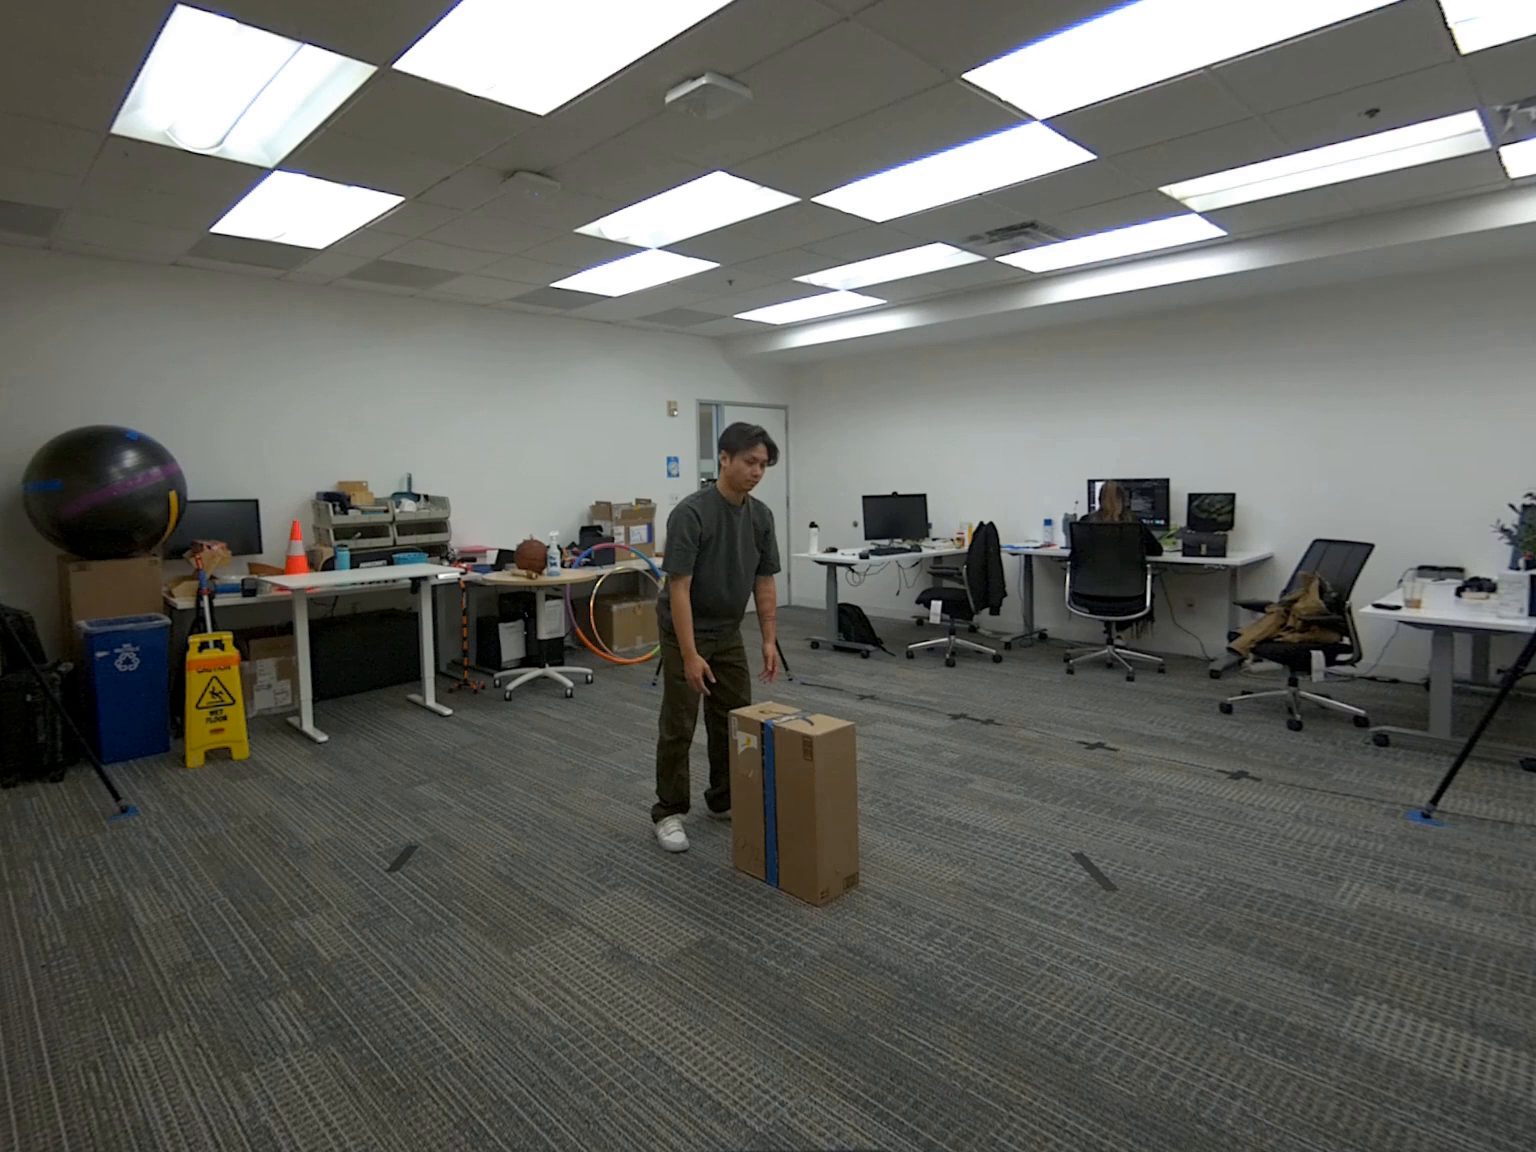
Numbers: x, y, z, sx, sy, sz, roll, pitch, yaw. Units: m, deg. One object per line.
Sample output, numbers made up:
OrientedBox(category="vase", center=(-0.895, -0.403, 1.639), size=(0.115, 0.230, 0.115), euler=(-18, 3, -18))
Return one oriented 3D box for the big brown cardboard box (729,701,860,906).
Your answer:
OrientedBox(category="big brown cardboard box", center=(0.088, 0.770, 2.983), size=(0.227, 0.587, 0.430), euler=(-5, 5, -43))
